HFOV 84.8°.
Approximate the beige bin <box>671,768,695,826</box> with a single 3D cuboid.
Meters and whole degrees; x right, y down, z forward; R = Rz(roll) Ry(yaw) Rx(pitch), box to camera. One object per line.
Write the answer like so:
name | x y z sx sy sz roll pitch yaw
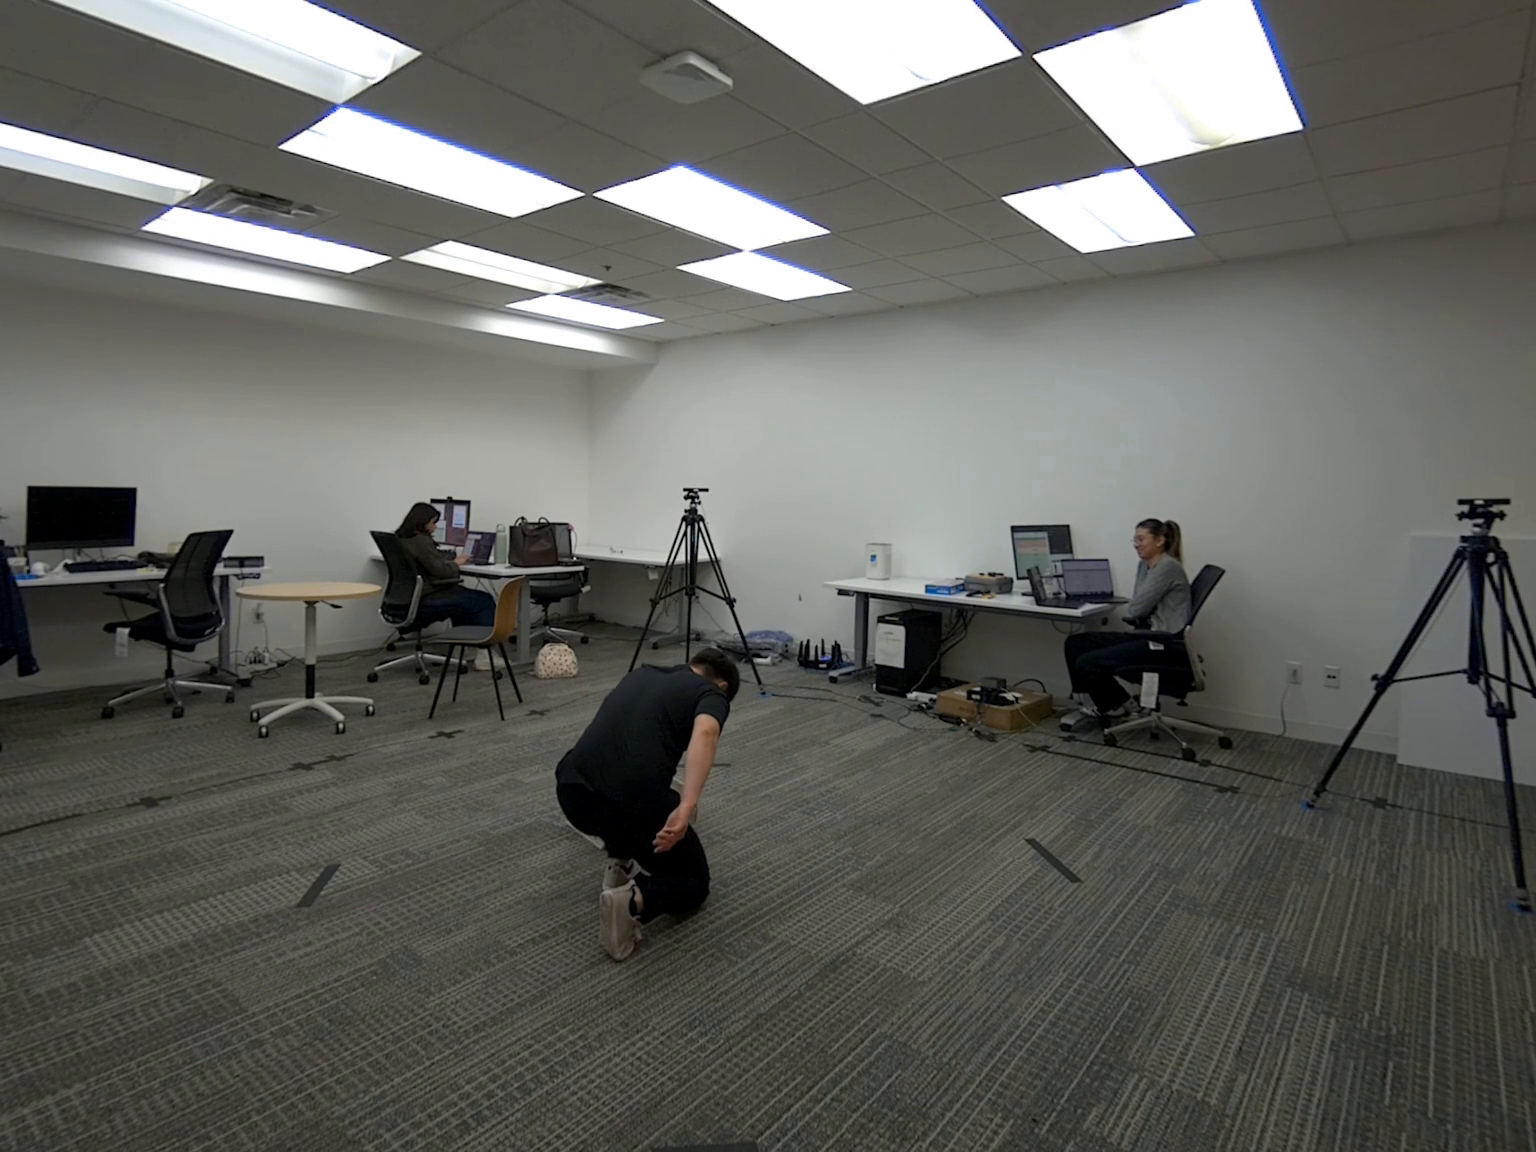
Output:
beige bin | -0.569 0.931 3.479 0.410 0.188 0.390 -4 6 -37
